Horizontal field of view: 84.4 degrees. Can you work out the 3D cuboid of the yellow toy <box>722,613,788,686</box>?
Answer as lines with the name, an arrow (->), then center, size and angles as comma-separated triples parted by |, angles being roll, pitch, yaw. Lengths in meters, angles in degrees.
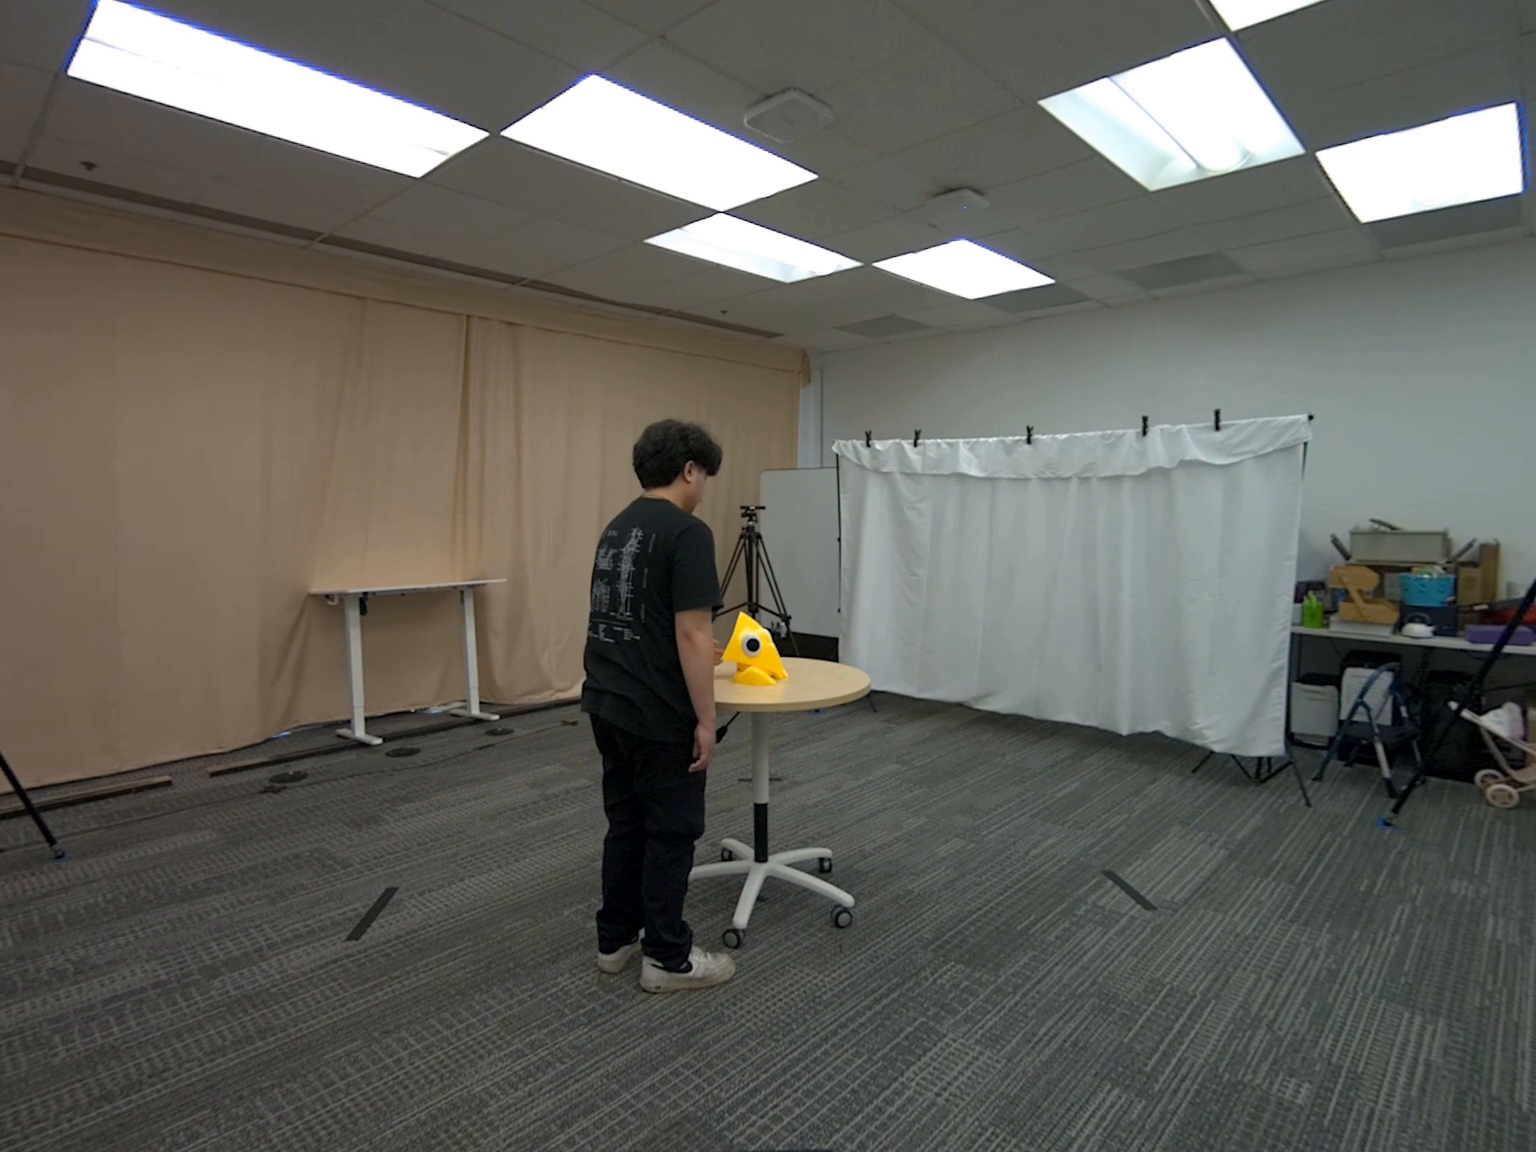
yellow toy -> -0.031, 0.246, 2.909 | 0.198, 0.230, 0.200 | 3, 4, 23
